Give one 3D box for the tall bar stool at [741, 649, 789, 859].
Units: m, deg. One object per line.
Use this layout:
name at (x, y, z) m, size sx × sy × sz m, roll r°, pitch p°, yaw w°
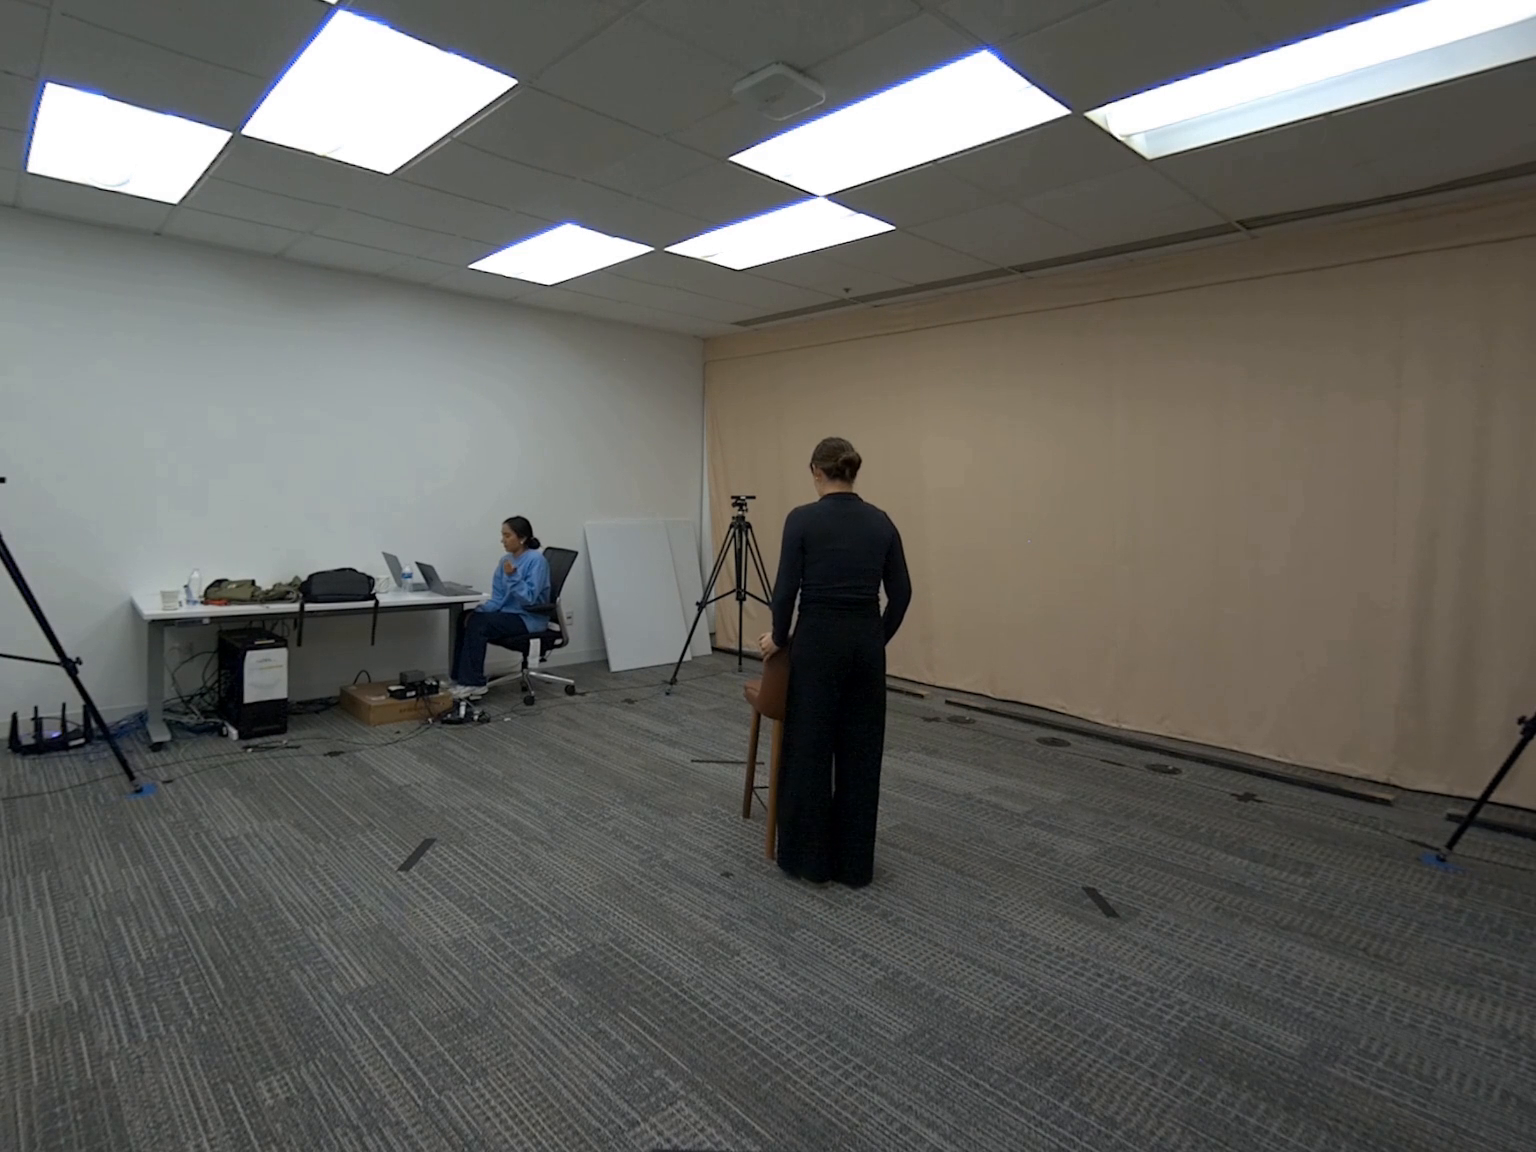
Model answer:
tall bar stool at (0.141, 0.640, 3.460) m, size 0.453 × 0.886 × 0.473 m, roll 1°, pitch 6°, yaw -11°
